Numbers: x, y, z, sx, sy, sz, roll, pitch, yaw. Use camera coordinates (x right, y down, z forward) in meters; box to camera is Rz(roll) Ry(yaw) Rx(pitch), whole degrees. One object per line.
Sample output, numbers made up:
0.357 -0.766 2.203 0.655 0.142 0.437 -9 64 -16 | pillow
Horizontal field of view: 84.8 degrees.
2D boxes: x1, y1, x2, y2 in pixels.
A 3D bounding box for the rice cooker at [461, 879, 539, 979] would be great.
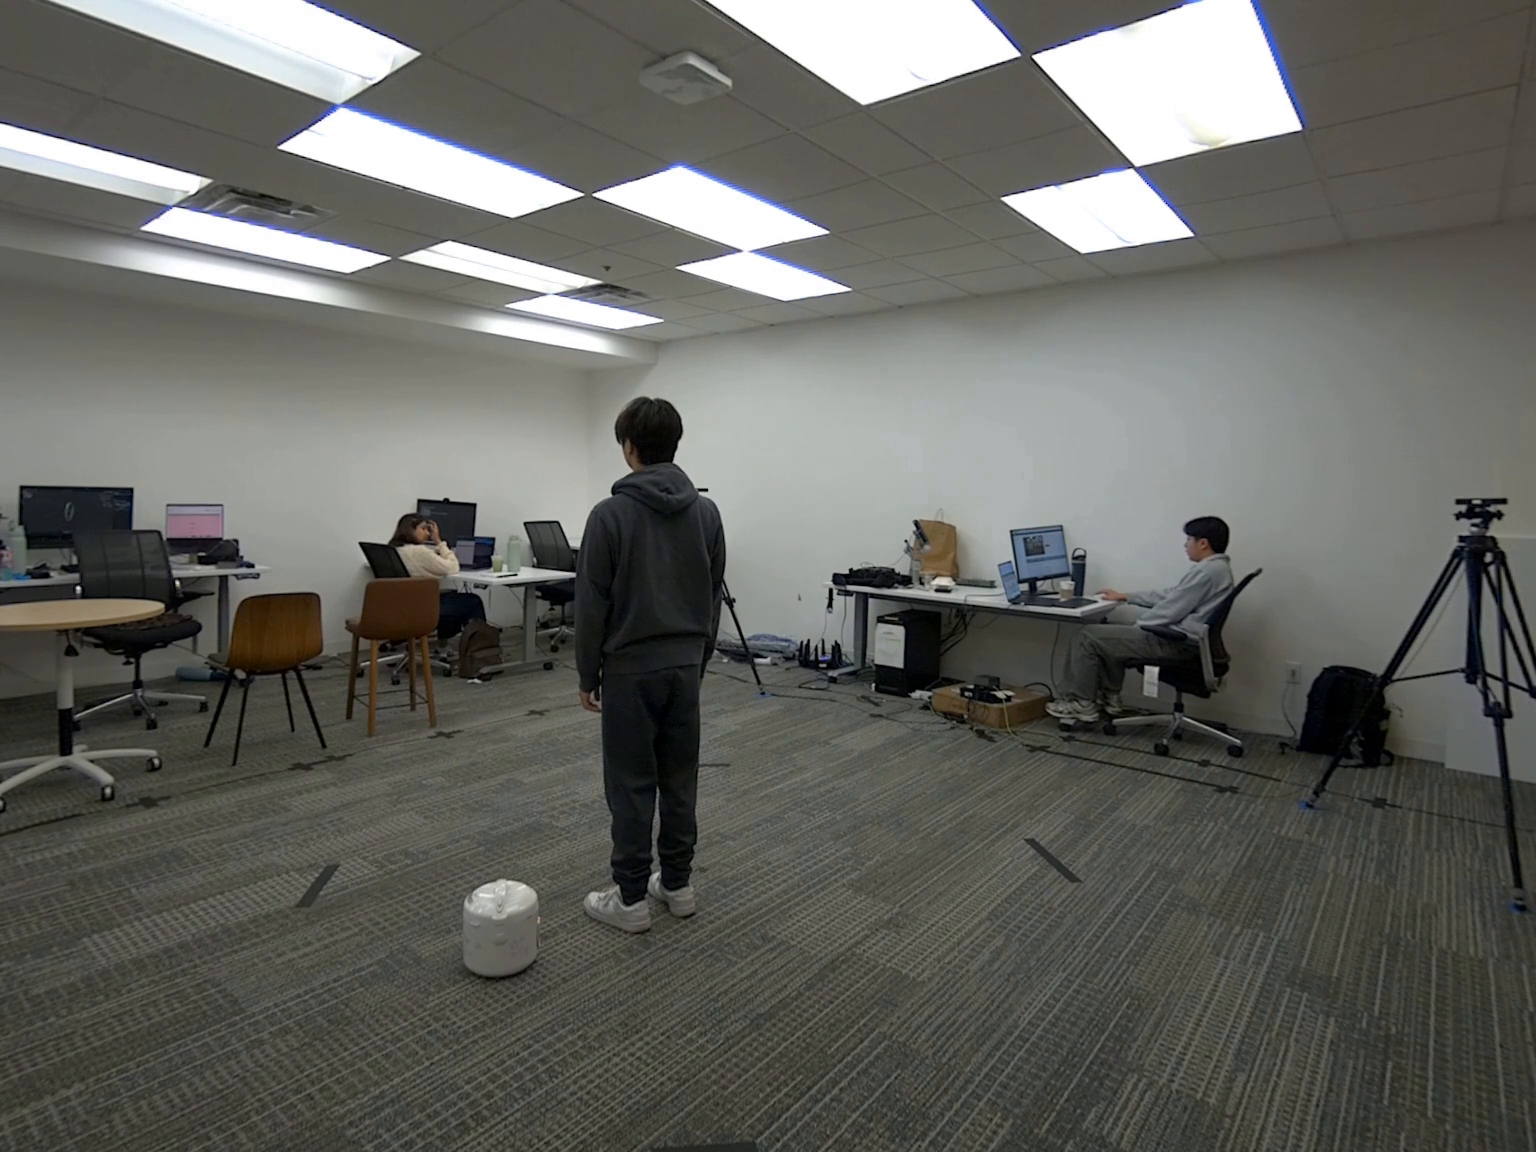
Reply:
-0.784 1.010 2.478 0.215 0.232 0.224 0 4 -13 | rice cooker
